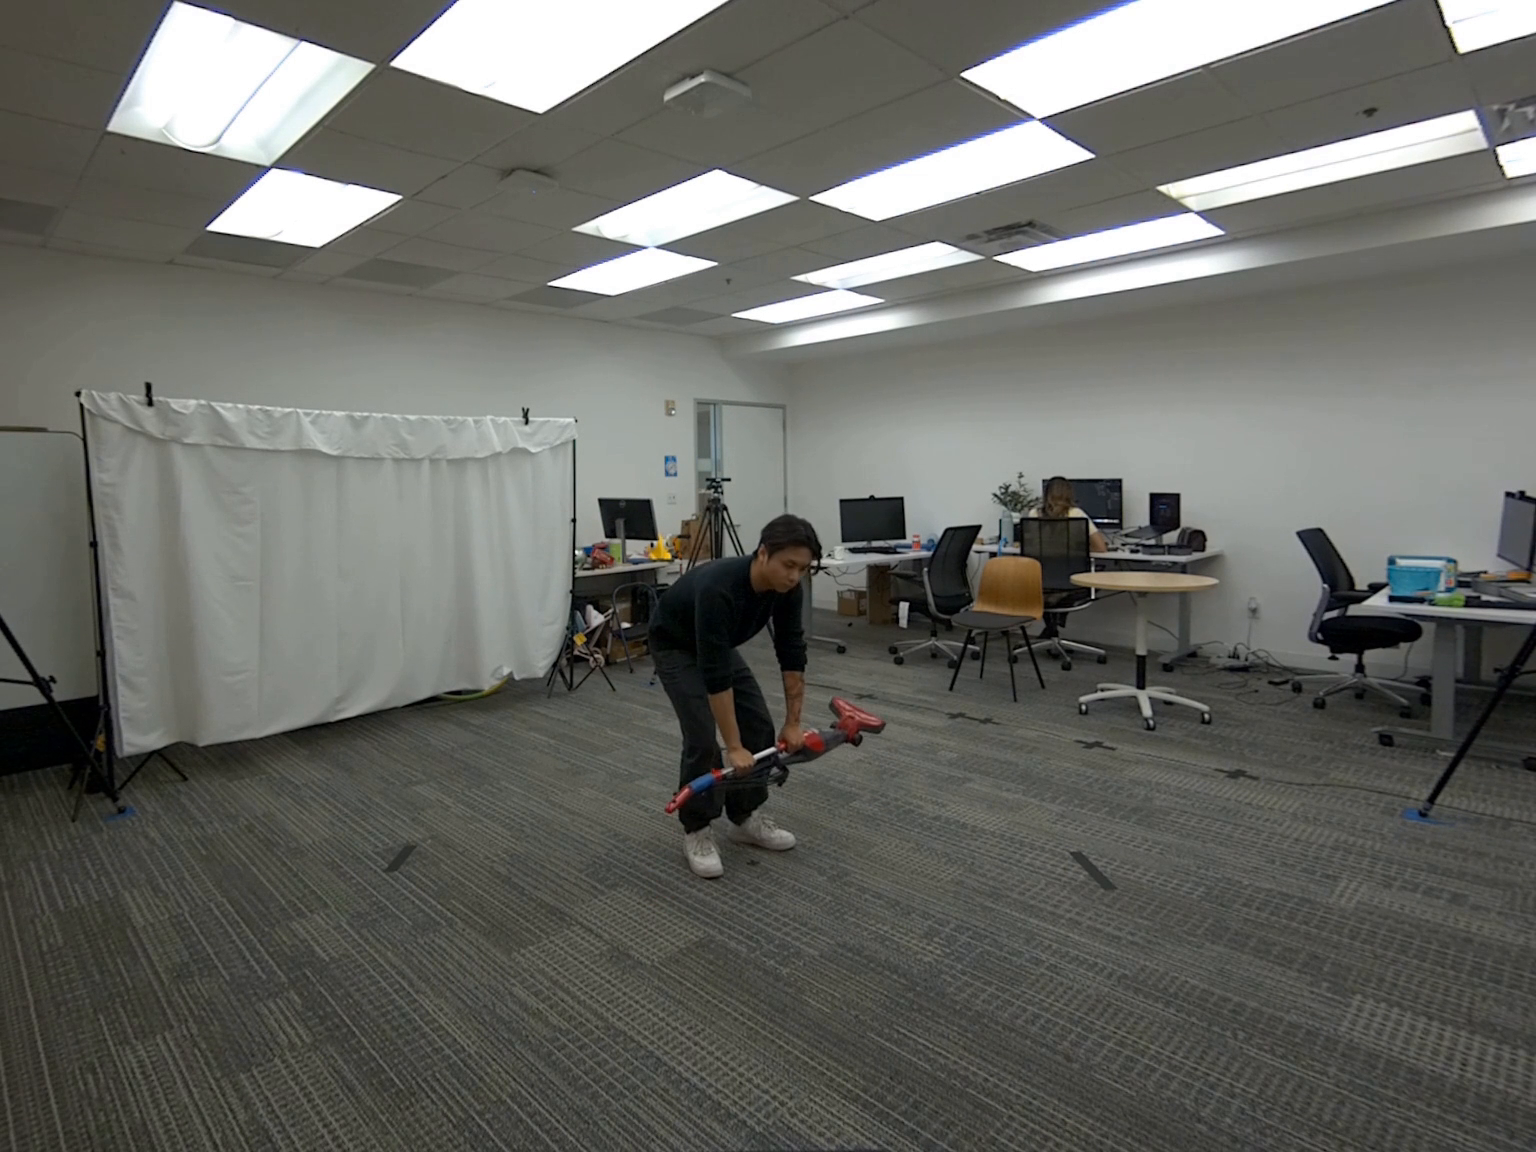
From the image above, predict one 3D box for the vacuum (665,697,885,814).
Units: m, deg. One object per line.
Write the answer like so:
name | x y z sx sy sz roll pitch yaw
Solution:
vacuum | 0.029 0.662 3.062 0.261 0.142 1.024 19 19 36
